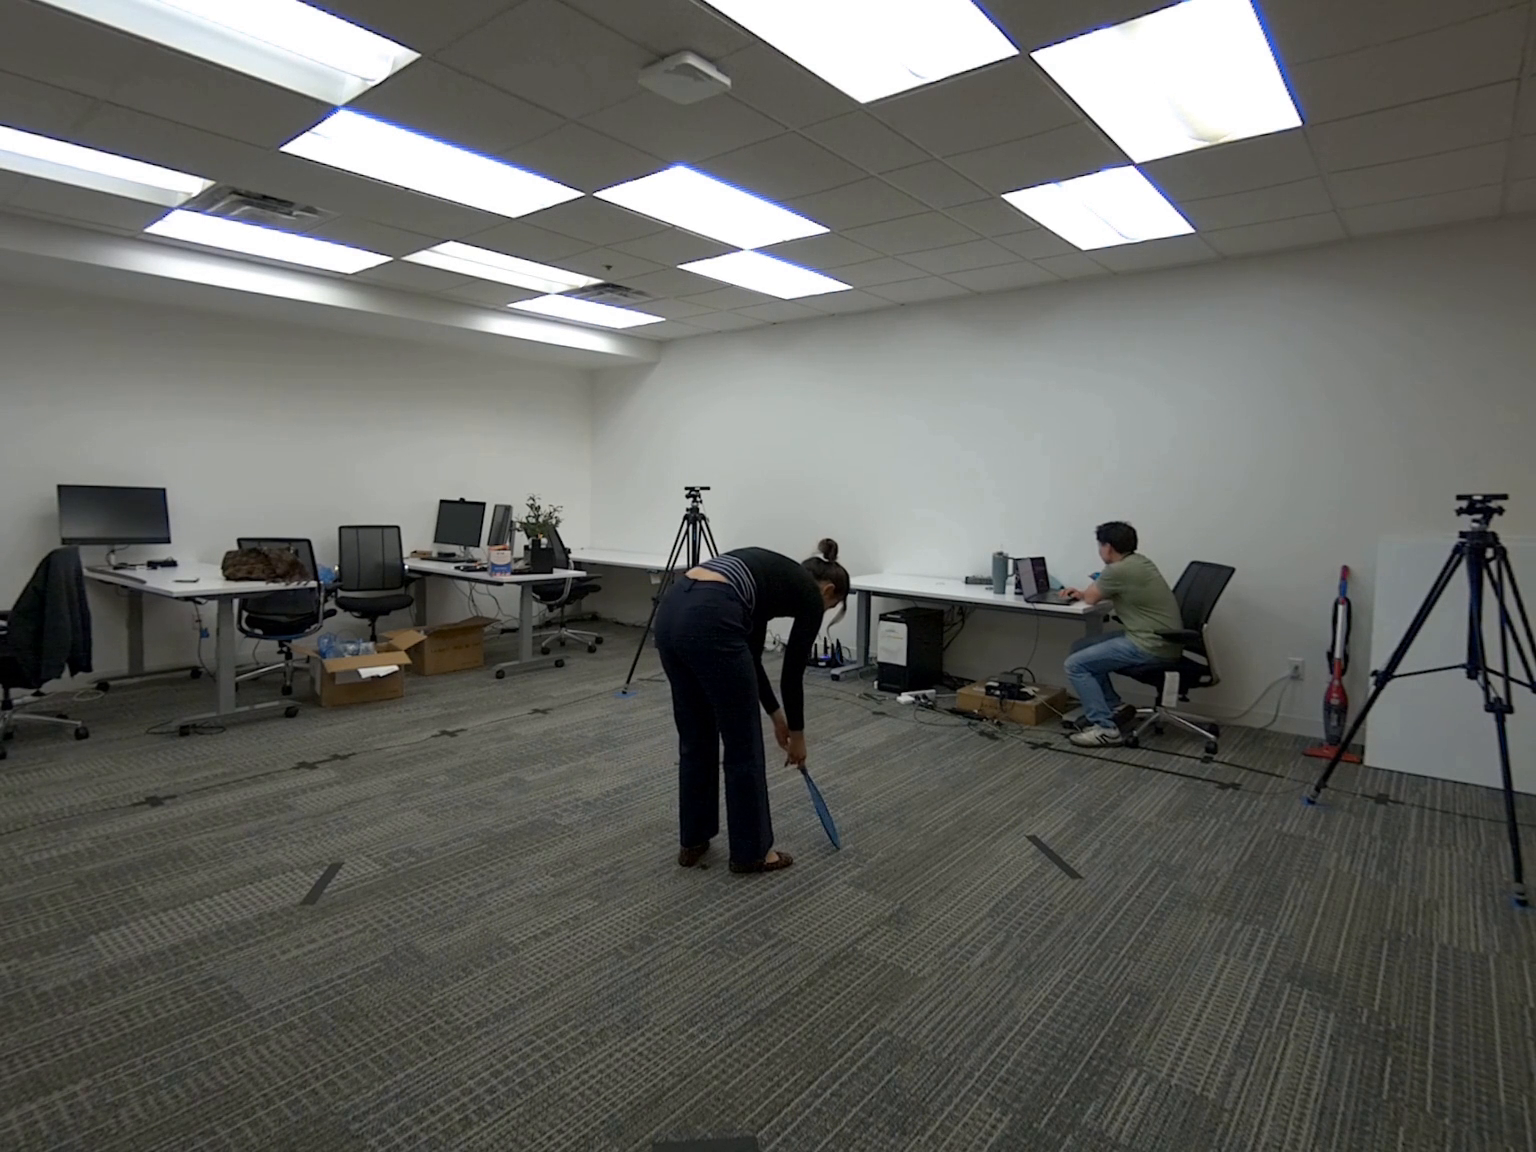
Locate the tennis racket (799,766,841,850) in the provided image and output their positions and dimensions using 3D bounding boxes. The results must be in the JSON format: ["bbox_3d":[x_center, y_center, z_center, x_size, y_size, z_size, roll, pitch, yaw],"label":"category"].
[{"bbox_3d":[0.171,0.854,3.332,0.032,0.436,0.212,-26,-4,5],"label":"tennis racket"}]
